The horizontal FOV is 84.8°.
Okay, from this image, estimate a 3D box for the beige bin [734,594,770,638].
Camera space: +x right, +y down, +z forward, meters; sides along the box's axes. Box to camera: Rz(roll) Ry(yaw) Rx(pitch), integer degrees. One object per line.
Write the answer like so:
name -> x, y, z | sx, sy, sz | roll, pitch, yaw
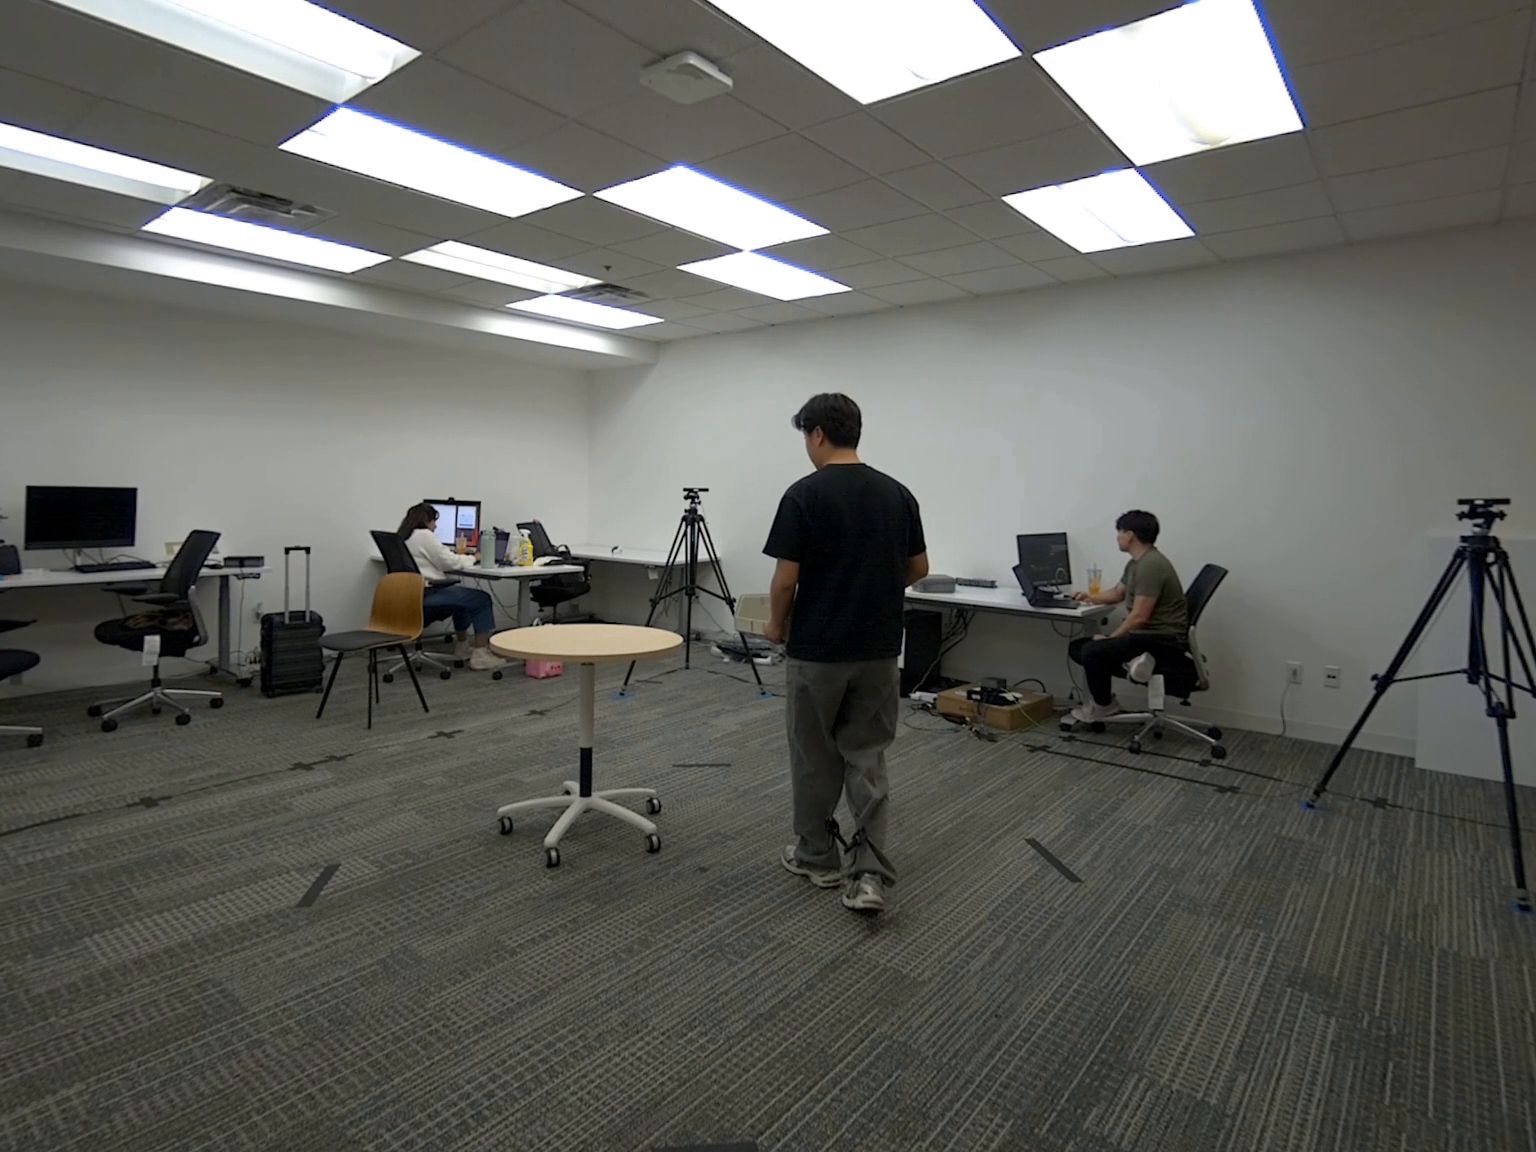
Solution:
beige bin -> 0.109, 0.163, 3.327 | 0.368, 0.189, 0.433 | 0, 1, -26
